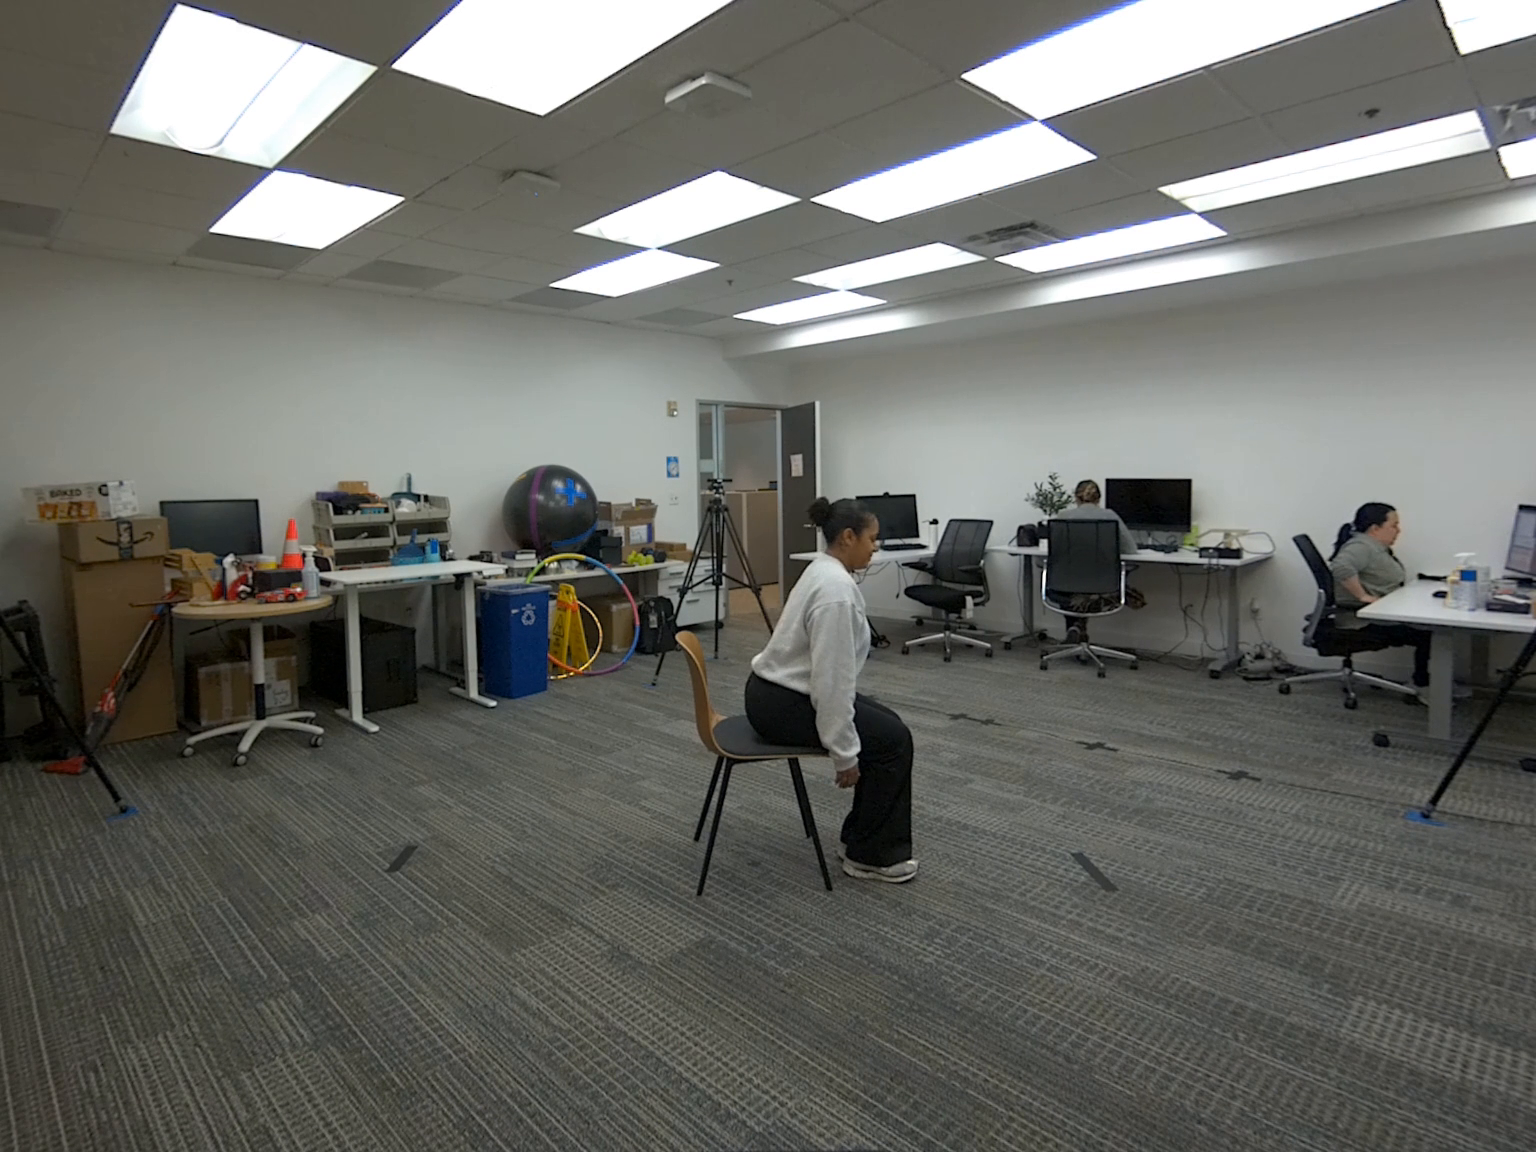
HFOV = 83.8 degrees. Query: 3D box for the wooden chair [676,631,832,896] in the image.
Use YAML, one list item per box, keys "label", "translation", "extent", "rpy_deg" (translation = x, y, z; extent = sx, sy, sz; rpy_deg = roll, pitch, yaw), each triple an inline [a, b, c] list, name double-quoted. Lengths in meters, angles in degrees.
- label: "wooden chair"
  translation: [-0.032, 0.620, 3.071]
  extent: [0.521, 0.874, 0.482]
  rpy_deg: [-5, 4, -5]
